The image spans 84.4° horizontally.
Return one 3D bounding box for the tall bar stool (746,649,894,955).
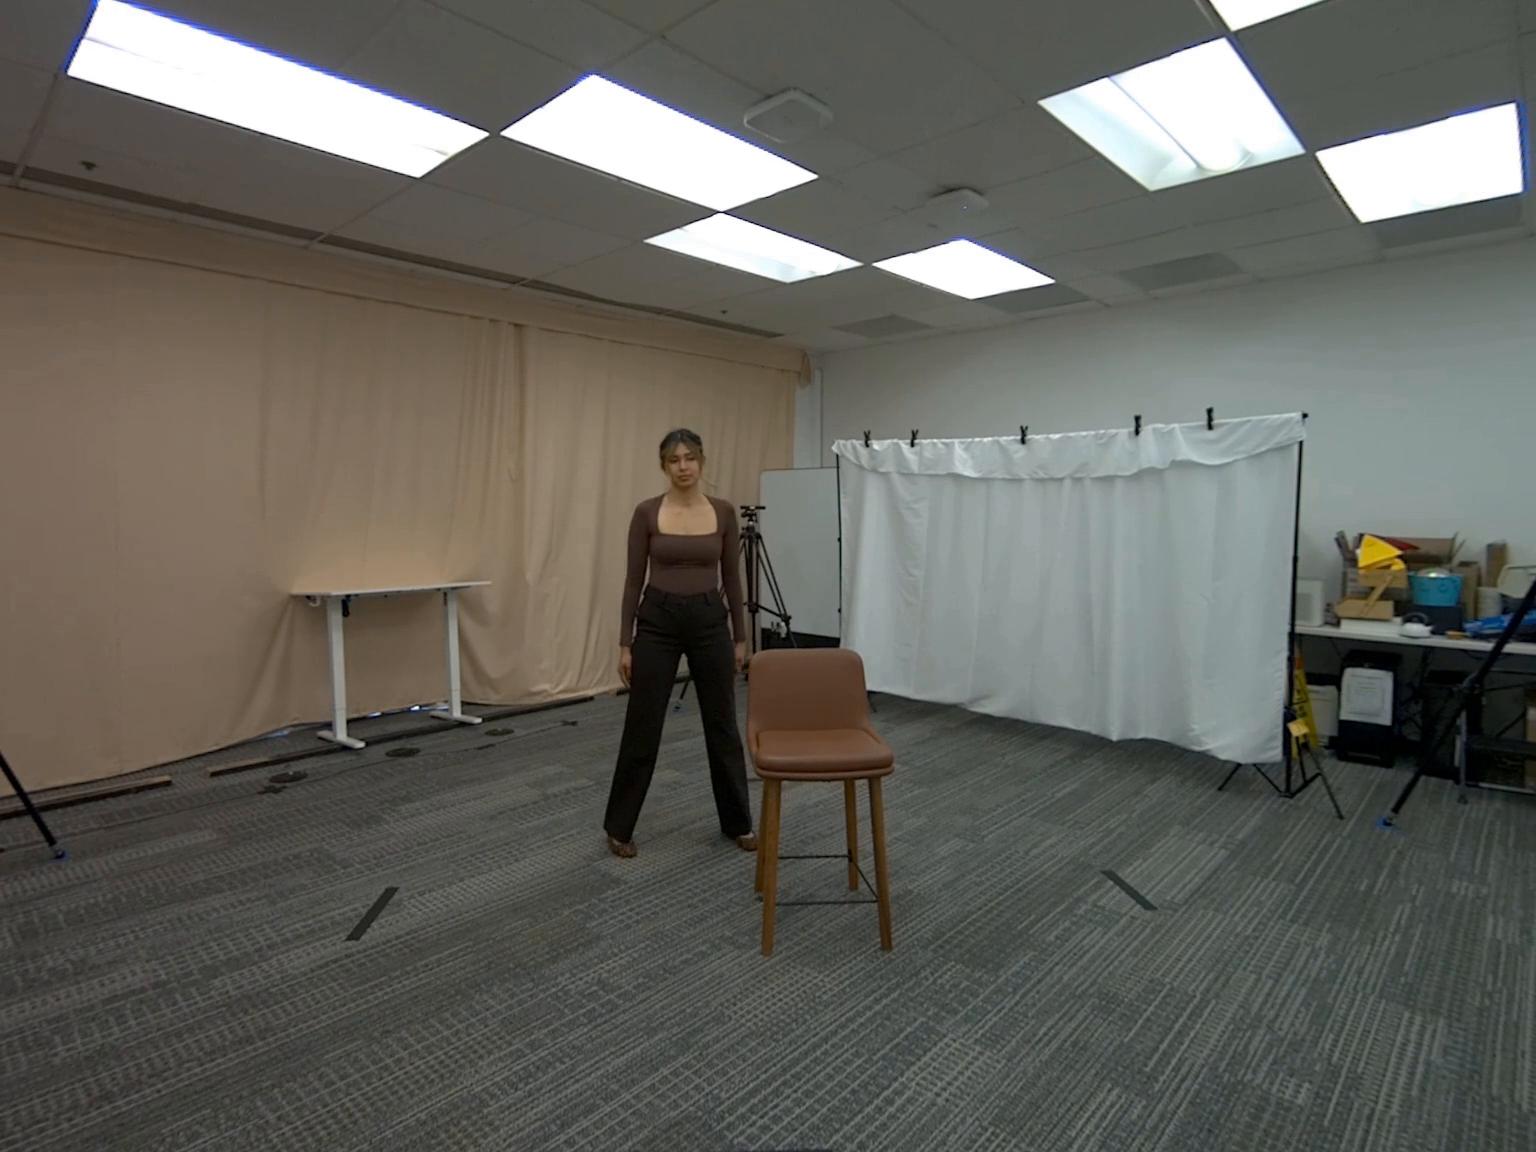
[{"bbox_3d":[0.167,0.724,2.821,0.454,0.889,0.470,0,2,-5],"label":"tall bar stool"}]
